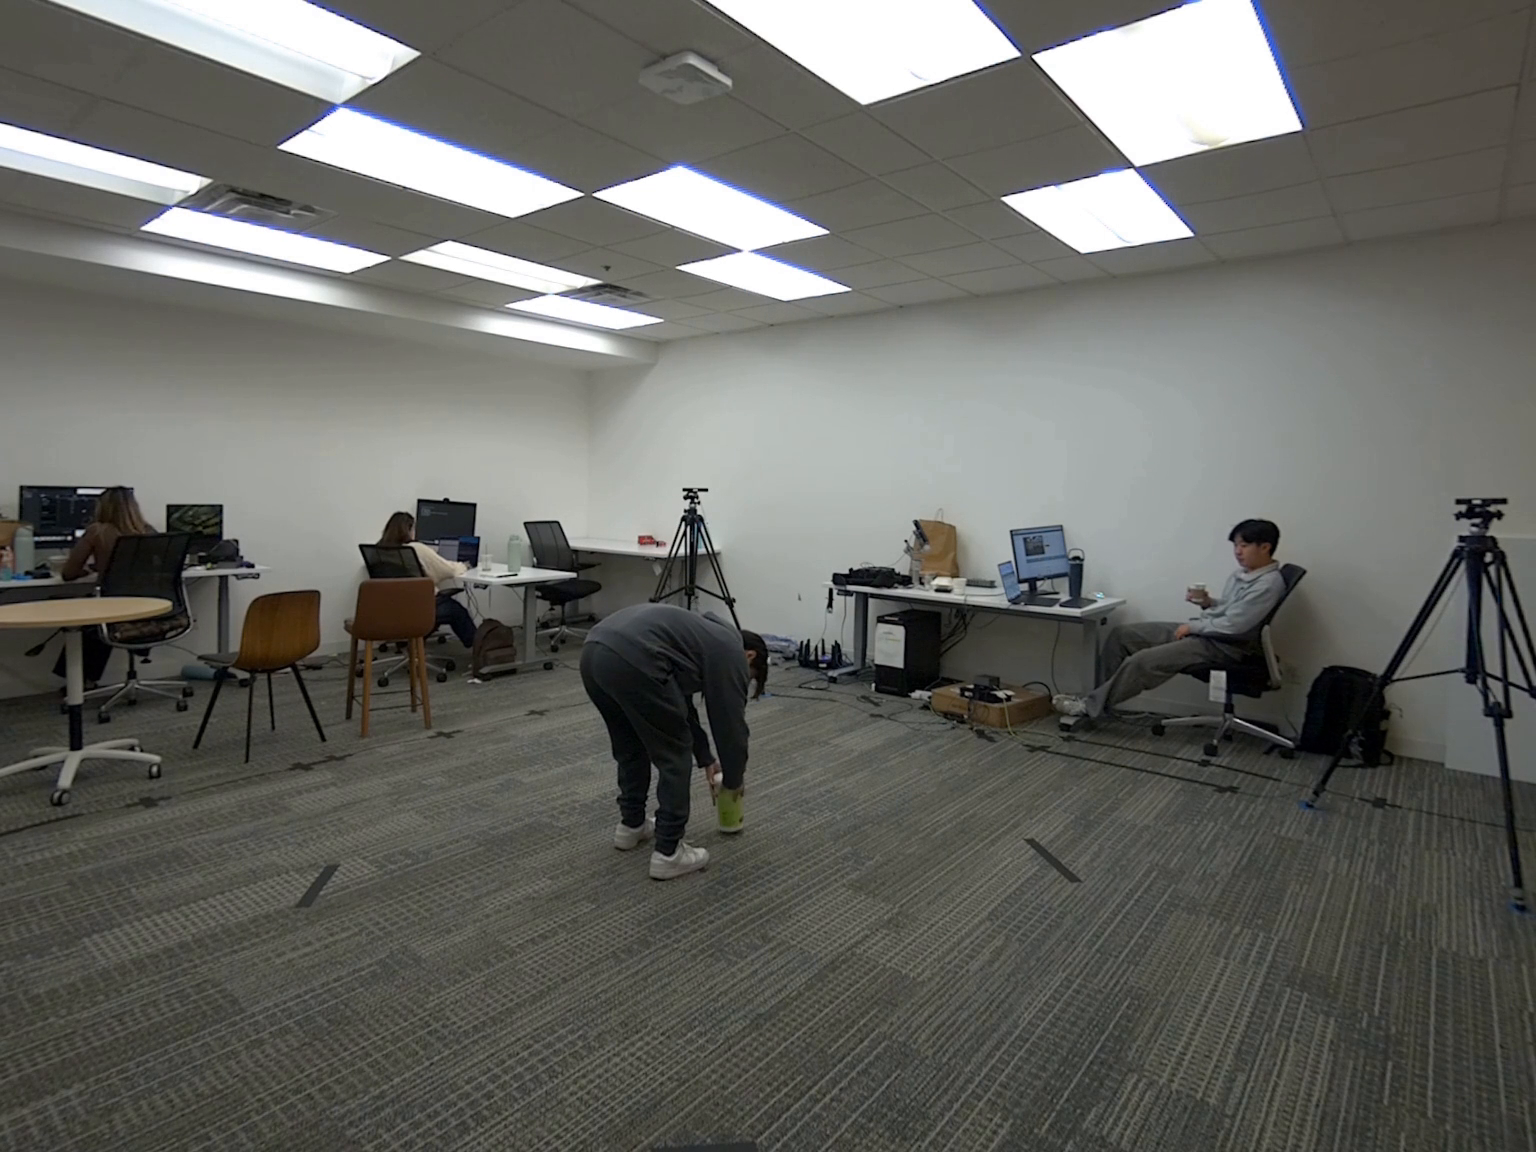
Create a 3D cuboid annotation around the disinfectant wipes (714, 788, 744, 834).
[{"bbox_3d":[-0.176,0.913,3.454,0.118,0.216,0.118,-4,6,-1],"label":"disinfectant wipes"}]
